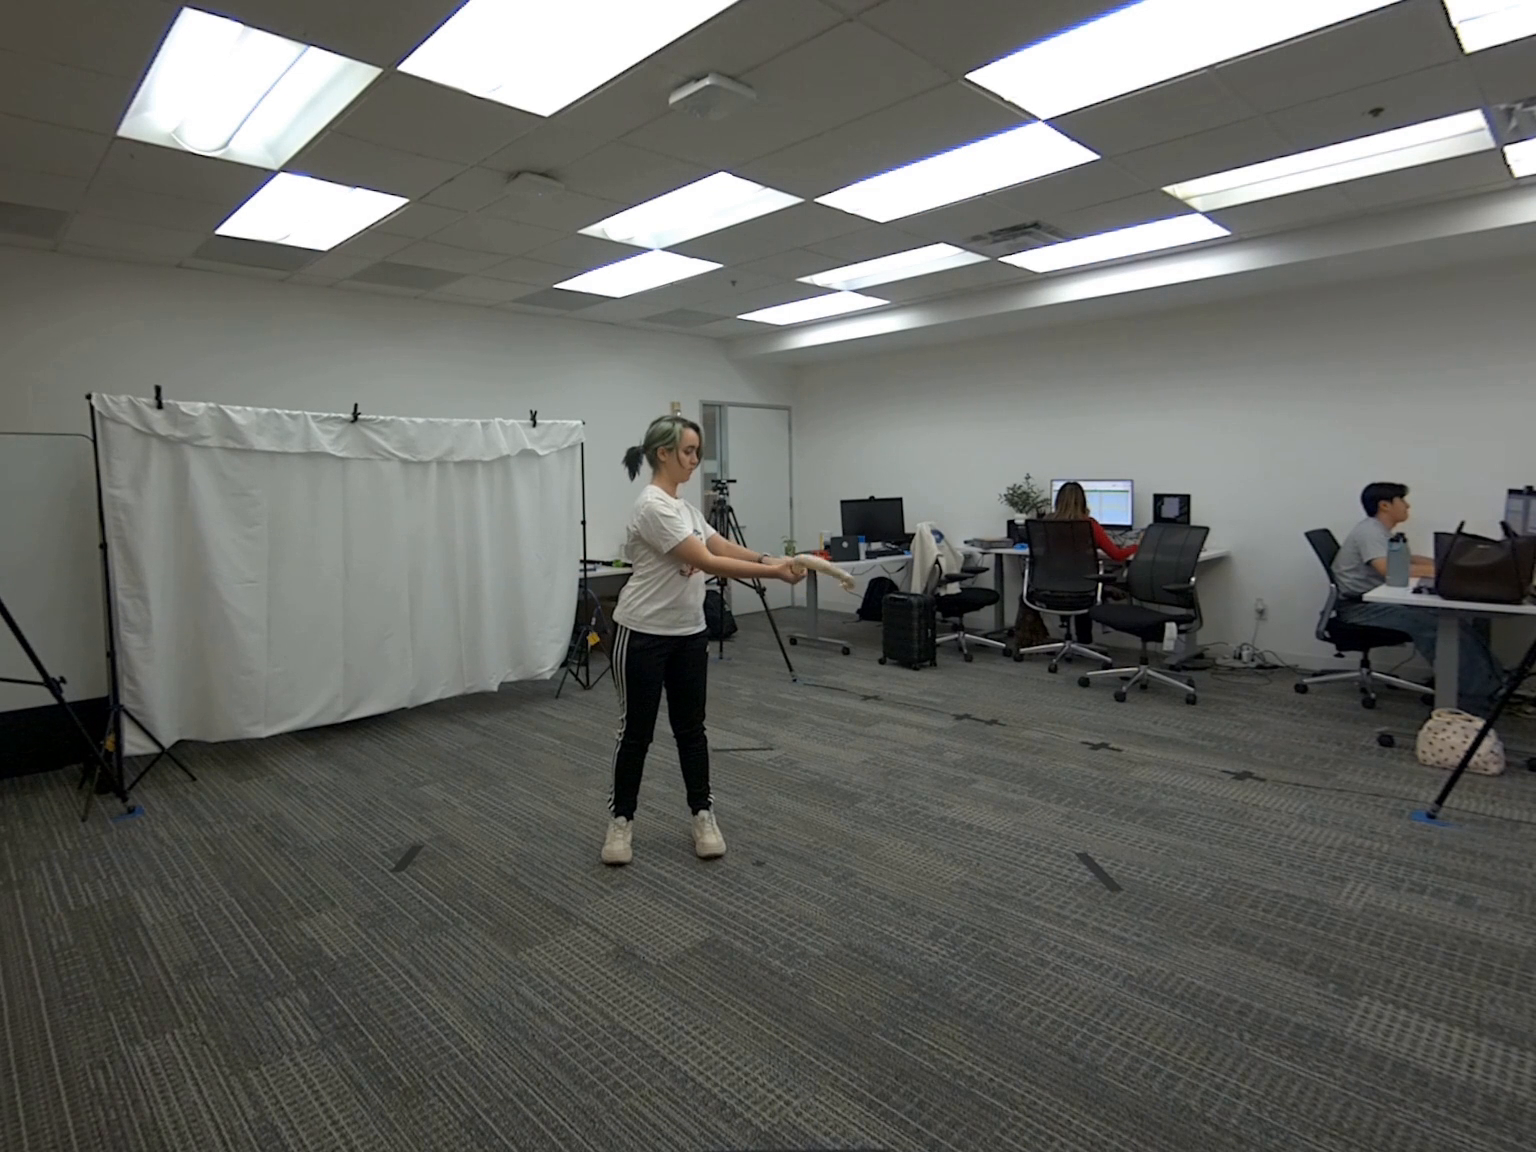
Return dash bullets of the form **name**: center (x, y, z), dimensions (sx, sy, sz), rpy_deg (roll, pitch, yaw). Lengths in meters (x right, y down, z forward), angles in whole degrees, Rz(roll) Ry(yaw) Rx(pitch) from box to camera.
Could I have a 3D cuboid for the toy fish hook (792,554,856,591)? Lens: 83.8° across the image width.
- **toy fish hook**: center (0.163, 0.003, 2.907), dimensions (0.223, 0.048, 0.509), rpy_deg (32, -9, -7)
